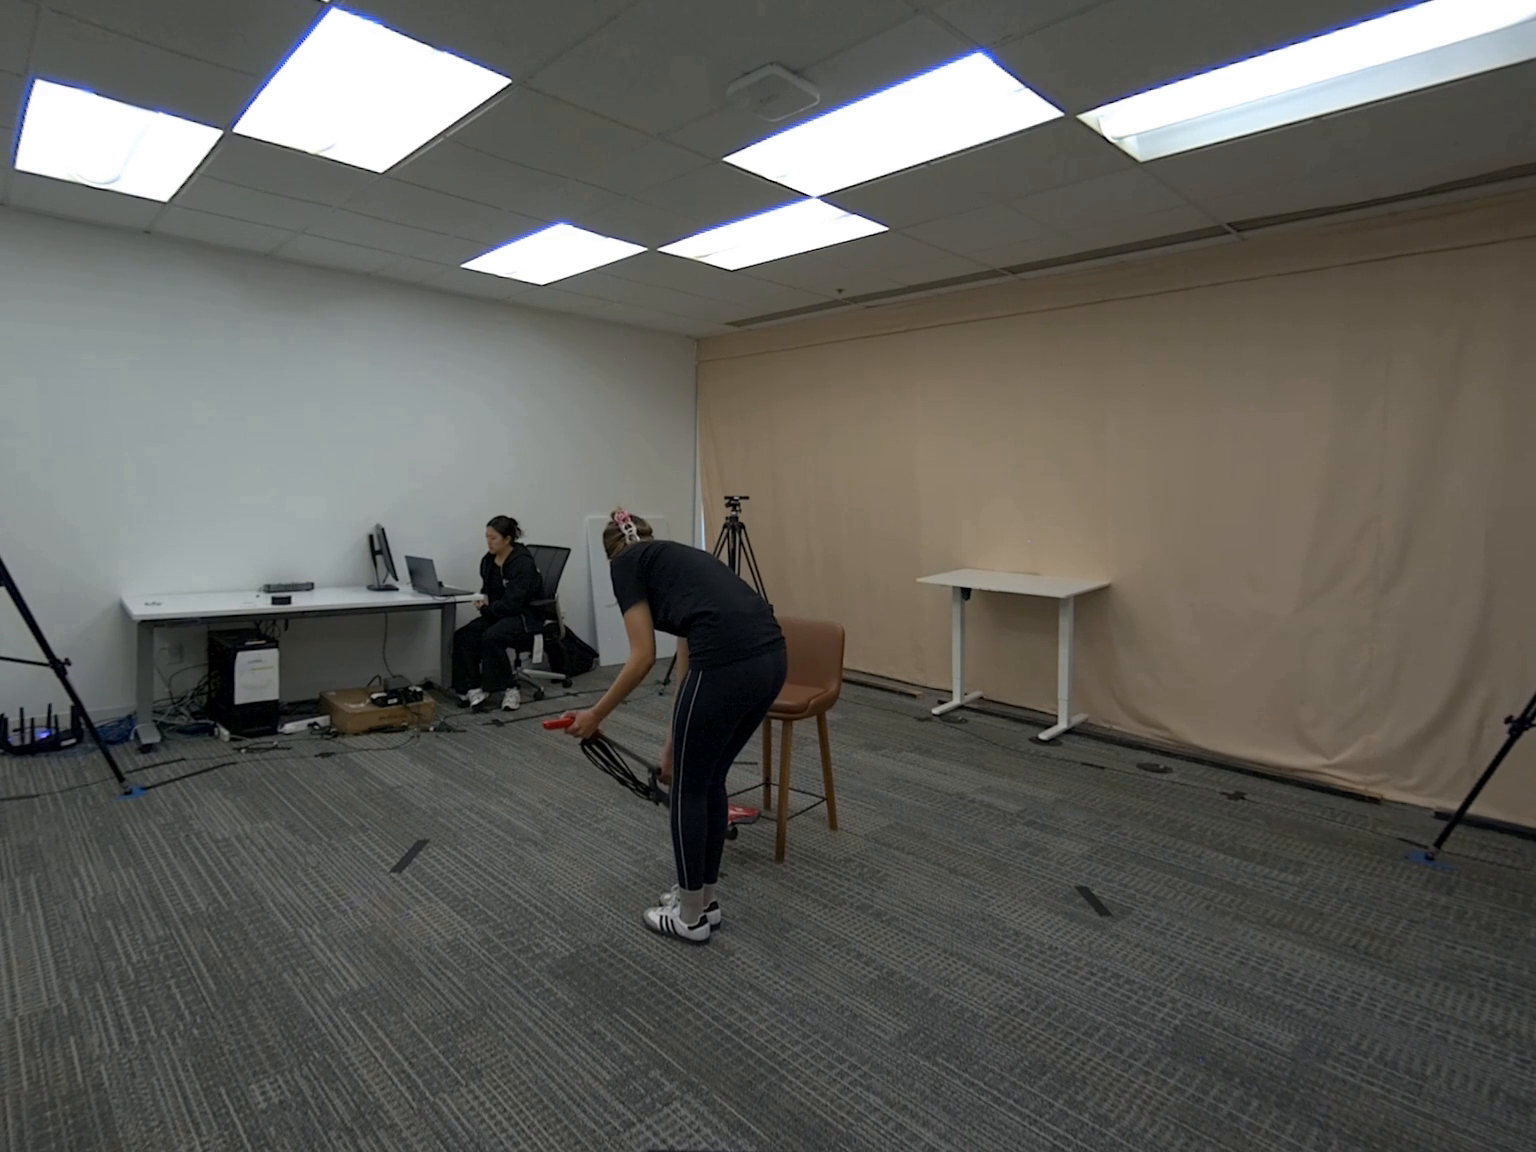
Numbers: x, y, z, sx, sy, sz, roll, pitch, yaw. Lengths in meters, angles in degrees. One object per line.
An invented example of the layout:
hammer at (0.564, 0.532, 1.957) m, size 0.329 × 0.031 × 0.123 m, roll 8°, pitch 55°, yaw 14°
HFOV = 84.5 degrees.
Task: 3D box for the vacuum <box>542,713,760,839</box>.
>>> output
vacuum at (-0.431, 0.703, 2.902) m, size 0.259 × 0.145 × 1.016 m, roll 4°, pitch -27°, yaw 39°
